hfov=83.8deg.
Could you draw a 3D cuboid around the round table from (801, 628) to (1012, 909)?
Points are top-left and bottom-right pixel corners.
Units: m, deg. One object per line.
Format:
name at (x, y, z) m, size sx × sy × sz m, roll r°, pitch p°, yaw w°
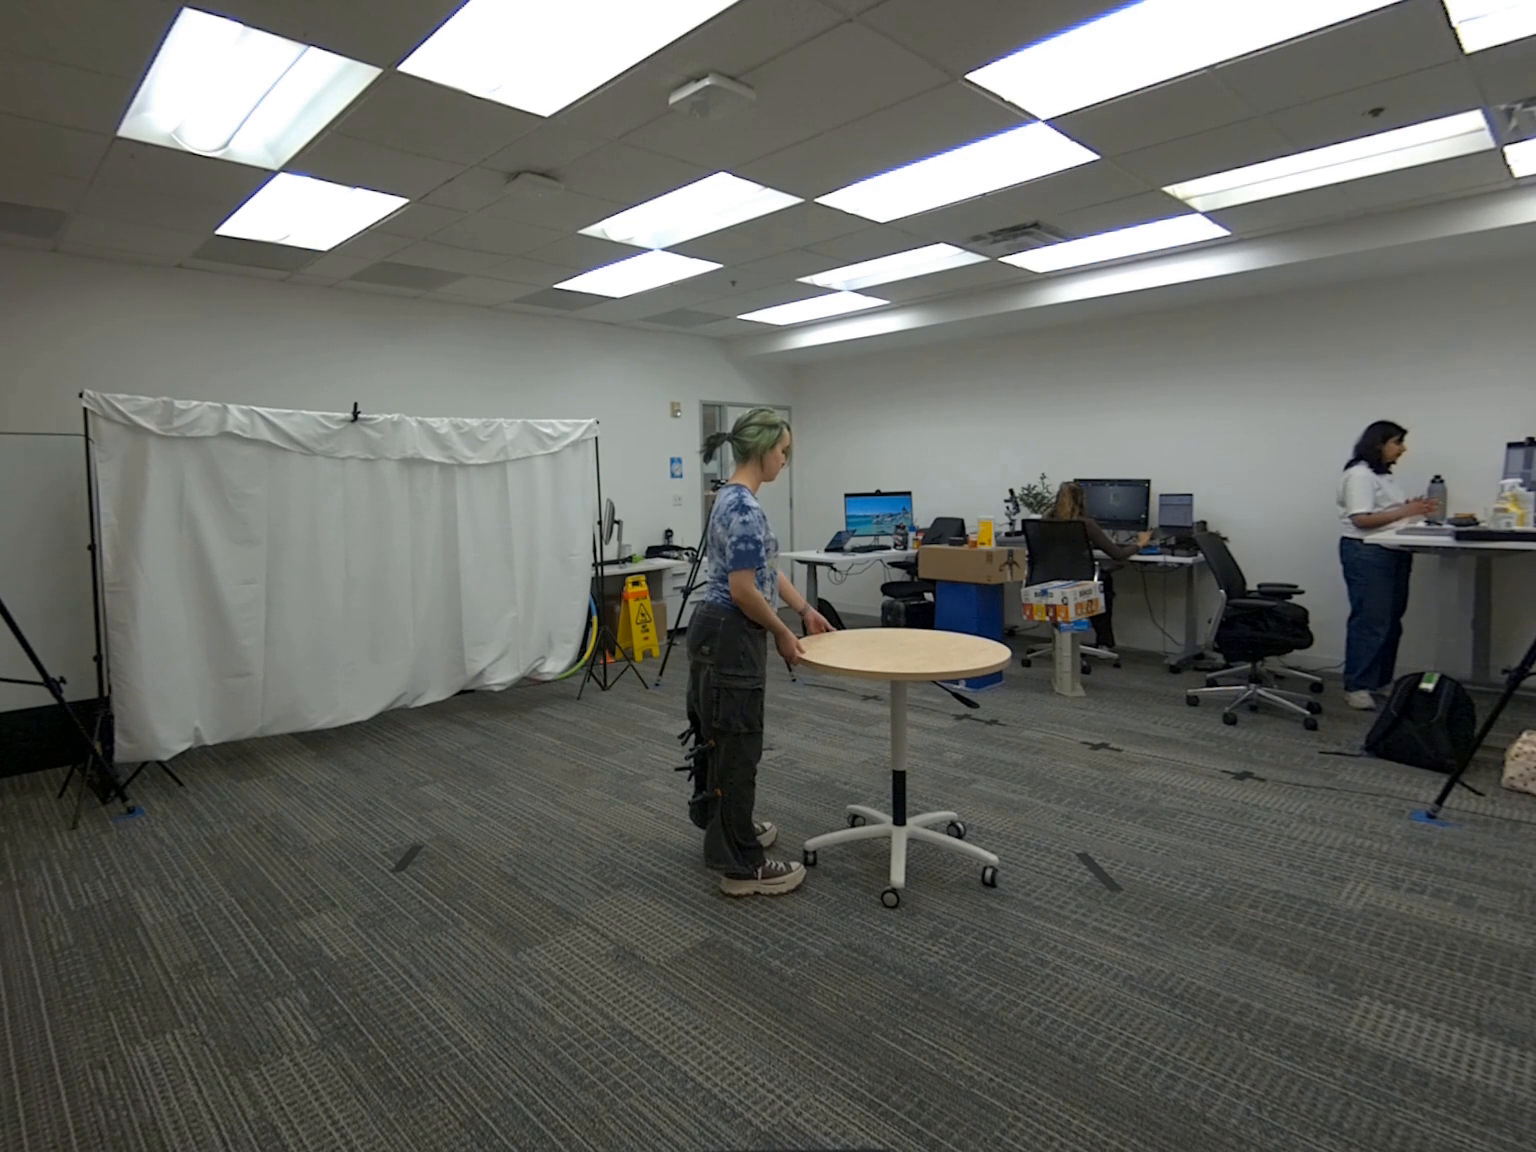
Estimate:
round table at (0.477, 0.650, 3.079) m, size 0.763 × 0.791 × 0.768 m, roll -1°, pitch 5°, yaw -2°
